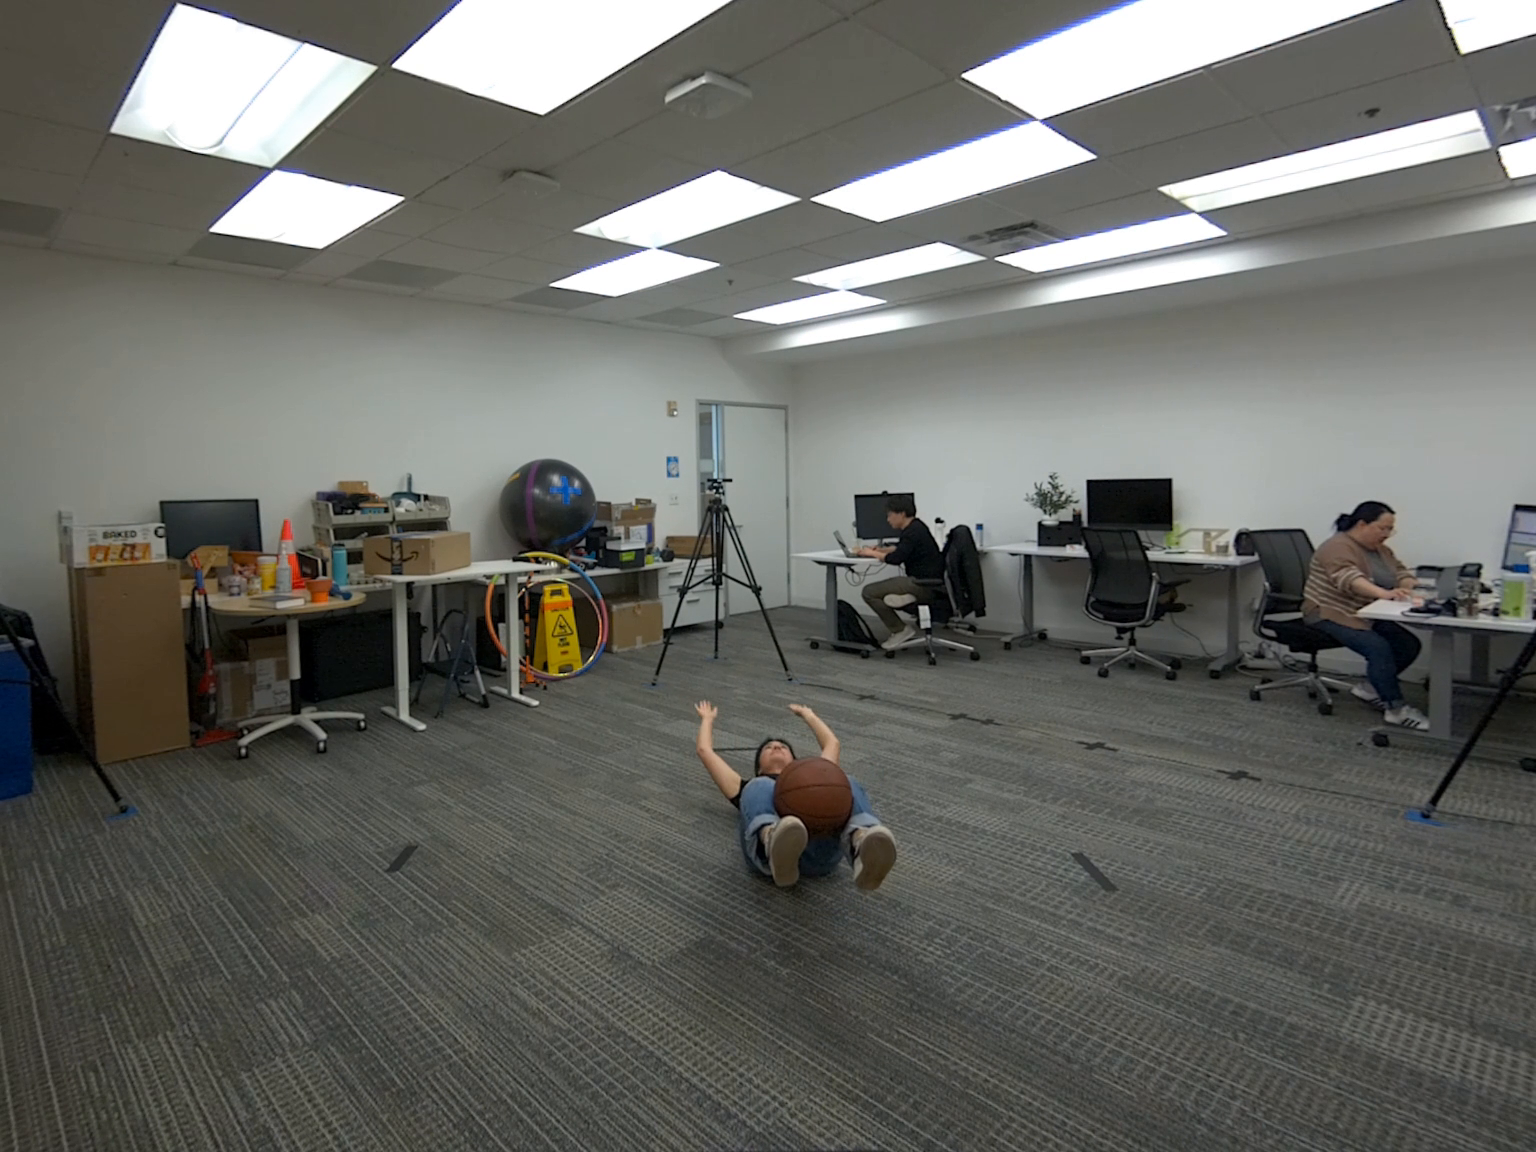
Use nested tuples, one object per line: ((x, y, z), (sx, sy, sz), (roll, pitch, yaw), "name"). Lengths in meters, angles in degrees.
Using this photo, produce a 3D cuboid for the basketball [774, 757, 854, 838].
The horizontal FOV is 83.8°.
((0.138, 0.658, 2.588), (0.236, 0.235, 0.237), (-1, 5, -2), "basketball")
